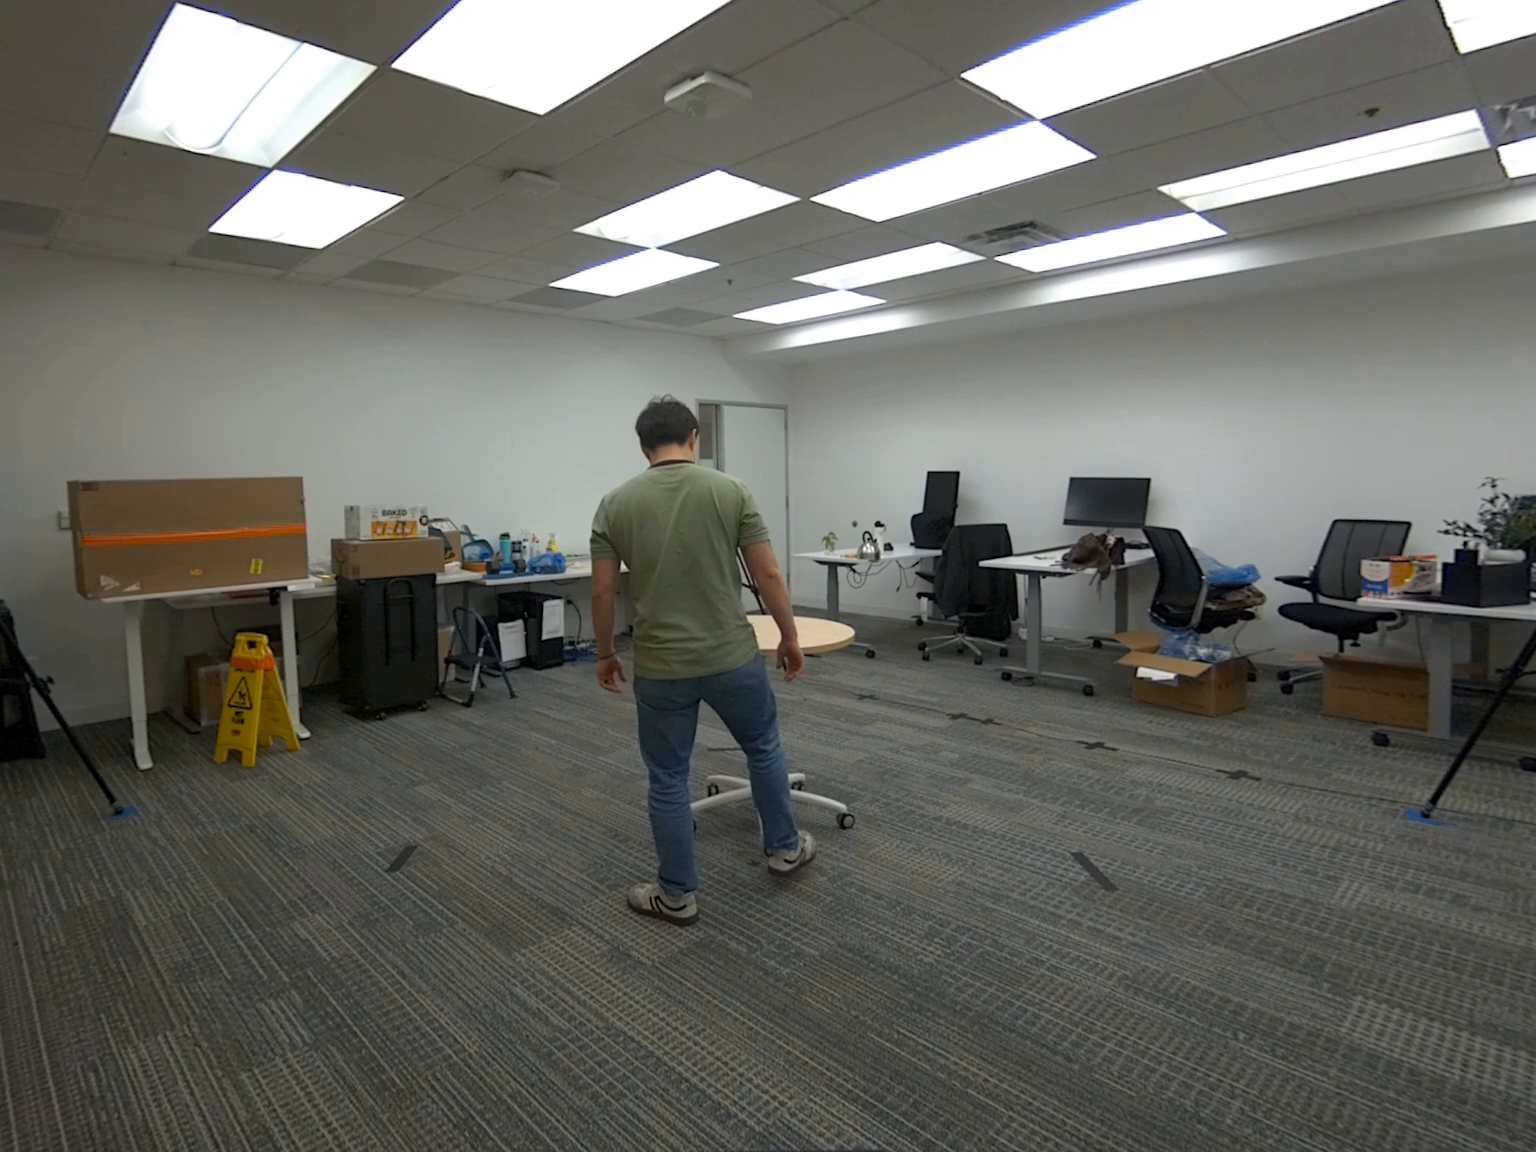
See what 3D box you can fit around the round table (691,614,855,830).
[{"bbox_3d":[-0.028,0.614,3.477,0.763,0.791,0.768,-1,5,-2],"label":"round table"}]
